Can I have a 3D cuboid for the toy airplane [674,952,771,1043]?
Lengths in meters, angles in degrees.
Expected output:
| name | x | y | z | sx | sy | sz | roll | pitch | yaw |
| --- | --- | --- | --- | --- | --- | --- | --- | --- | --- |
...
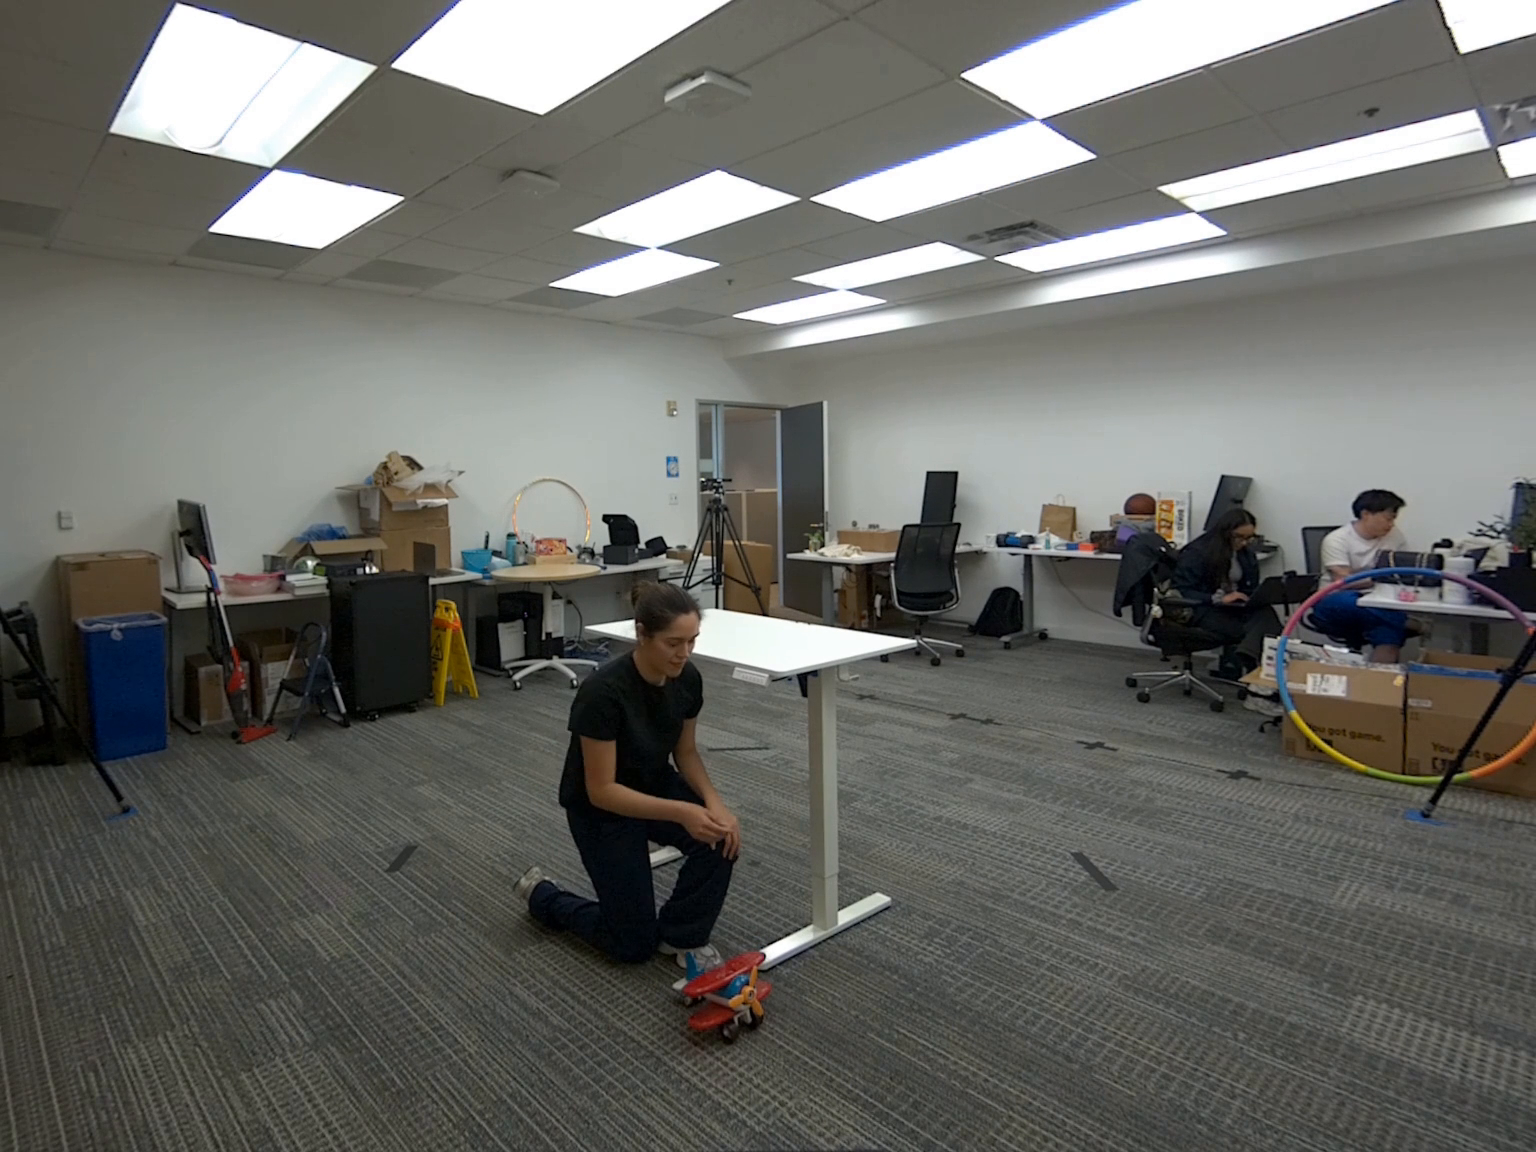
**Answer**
| name | x | y | z | sx | sy | sz | roll | pitch | yaw |
| --- | --- | --- | --- | --- | --- | --- | --- | --- | --- |
| toy airplane | -0.133 | 1.079 | 2.210 | 0.264 | 0.155 | 0.247 | 3 | 7 | 20 |
